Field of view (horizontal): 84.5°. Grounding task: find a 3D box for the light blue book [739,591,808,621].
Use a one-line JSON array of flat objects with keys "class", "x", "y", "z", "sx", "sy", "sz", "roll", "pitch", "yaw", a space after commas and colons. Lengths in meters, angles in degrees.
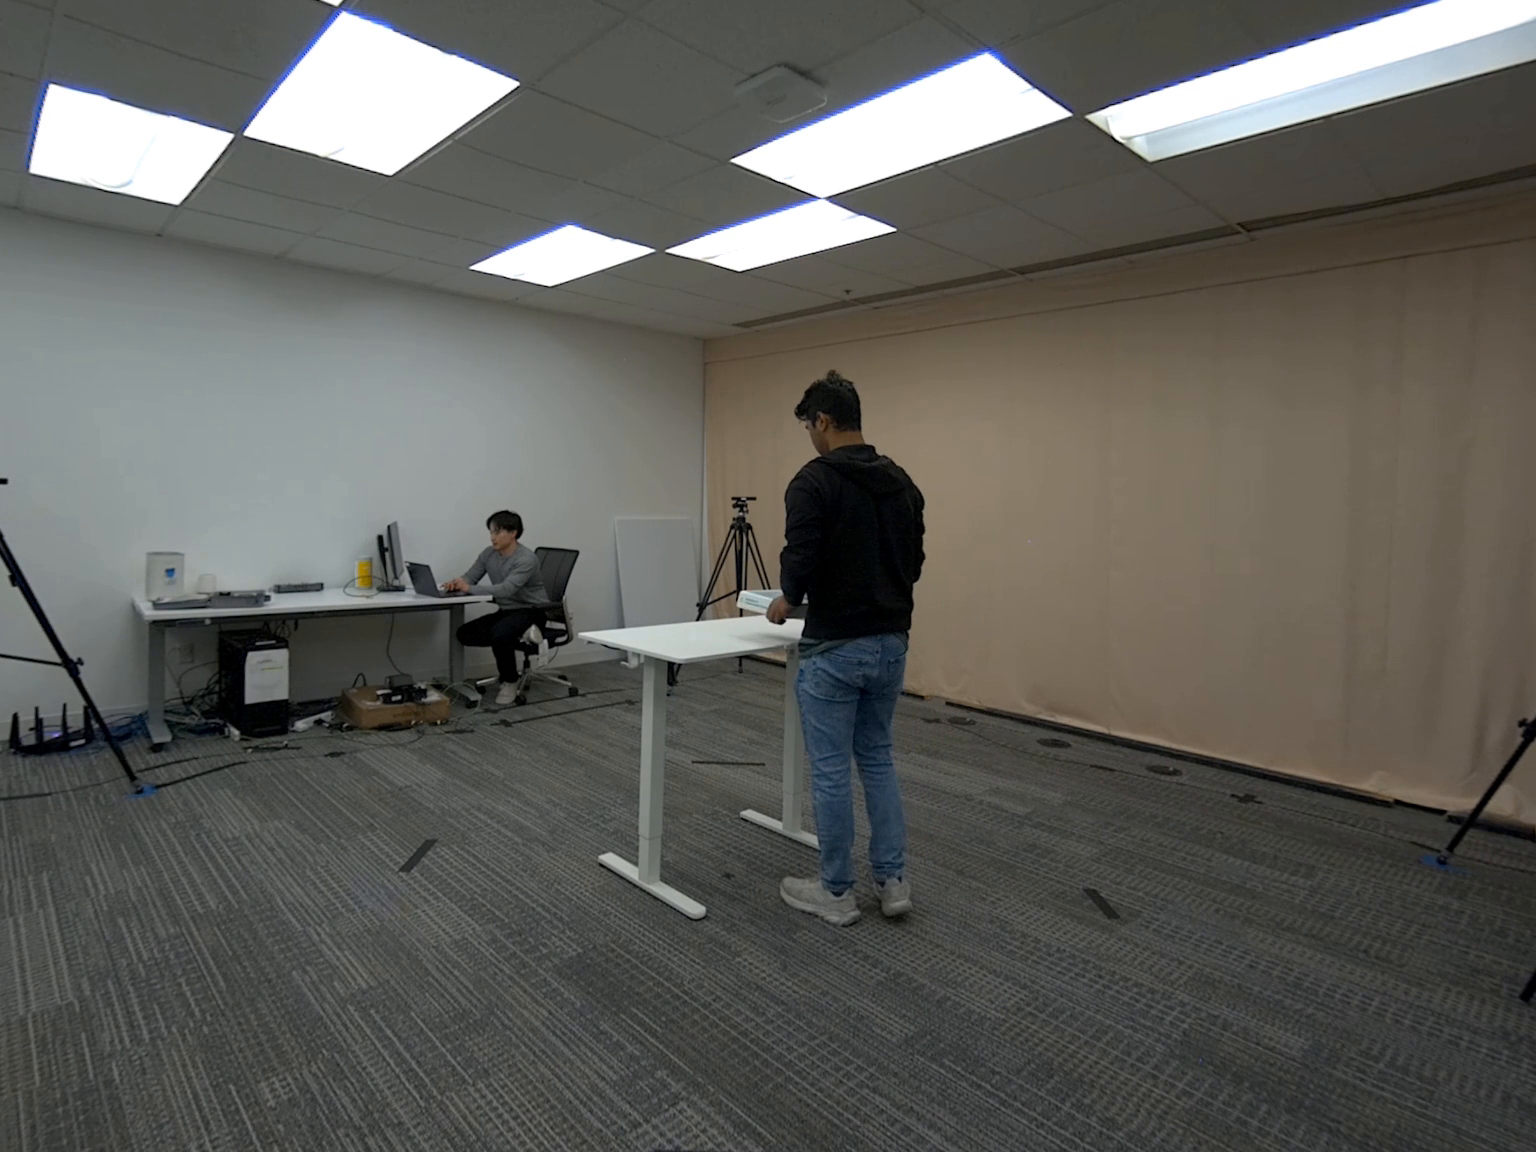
[{"class": "light blue book", "x": 0.046, "y": 0.105, "z": 3.084, "sx": 0.187, "sy": 0.059, "sz": 0.267, "roll": 0, "pitch": 8, "yaw": -31}]
